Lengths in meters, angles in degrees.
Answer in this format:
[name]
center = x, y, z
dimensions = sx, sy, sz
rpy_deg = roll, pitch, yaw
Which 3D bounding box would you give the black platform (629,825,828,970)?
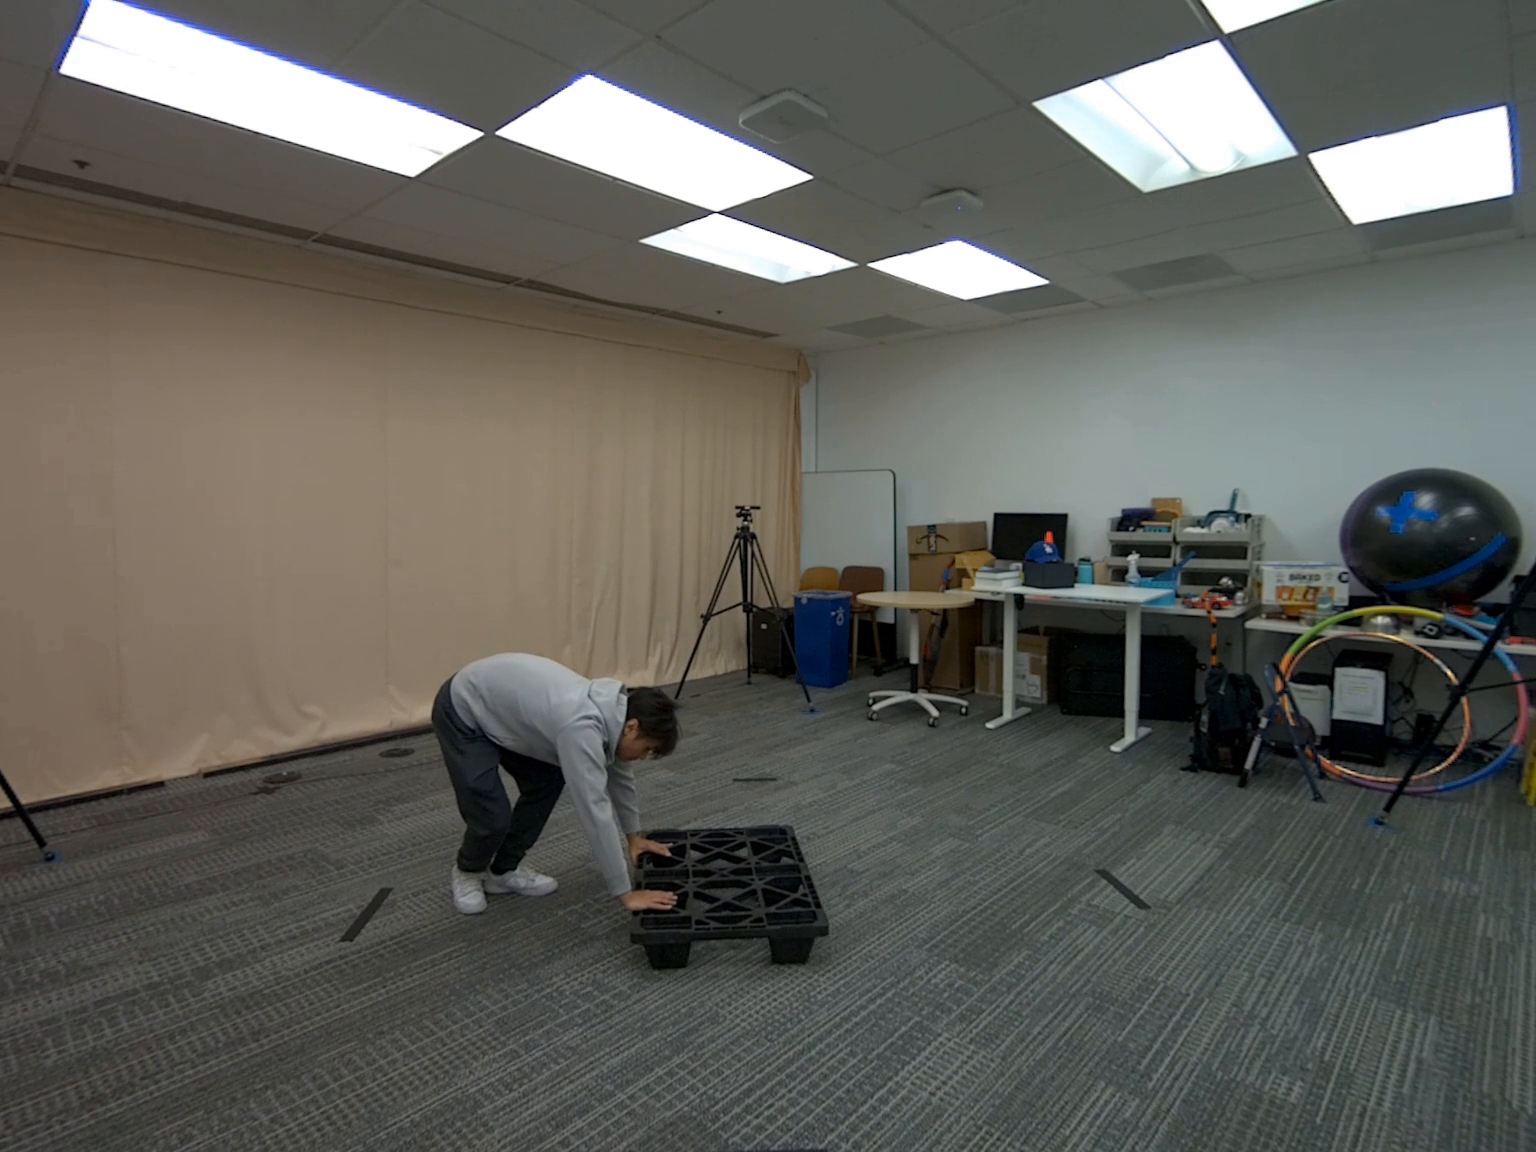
[black platform]
center = -0.153, 1.081, 2.903
dimensions = 0.602, 0.143, 0.812
rpy_deg = -1, 5, -6
